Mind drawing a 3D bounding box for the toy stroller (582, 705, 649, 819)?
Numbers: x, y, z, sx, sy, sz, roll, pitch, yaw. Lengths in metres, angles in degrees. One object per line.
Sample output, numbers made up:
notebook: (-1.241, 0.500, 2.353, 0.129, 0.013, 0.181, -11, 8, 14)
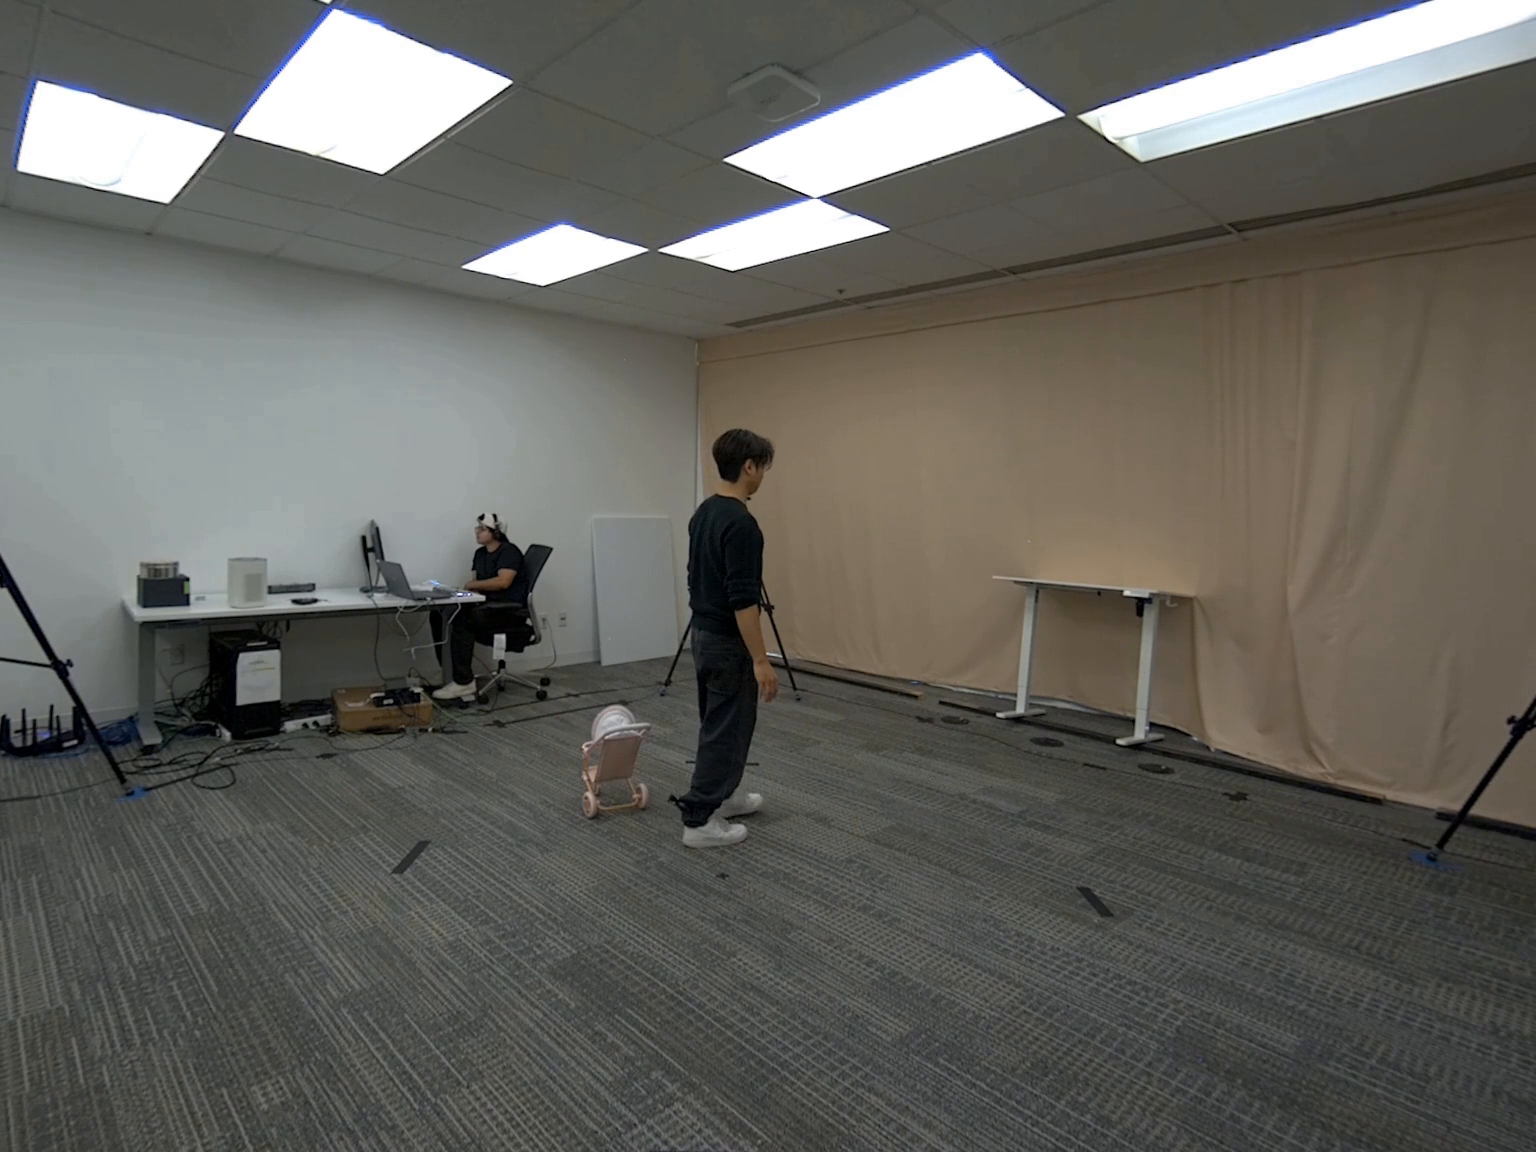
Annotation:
toy stroller: (-0.698, 0.808, 3.749, 0.276, 0.529, 0.351, 0, 21, -27)
